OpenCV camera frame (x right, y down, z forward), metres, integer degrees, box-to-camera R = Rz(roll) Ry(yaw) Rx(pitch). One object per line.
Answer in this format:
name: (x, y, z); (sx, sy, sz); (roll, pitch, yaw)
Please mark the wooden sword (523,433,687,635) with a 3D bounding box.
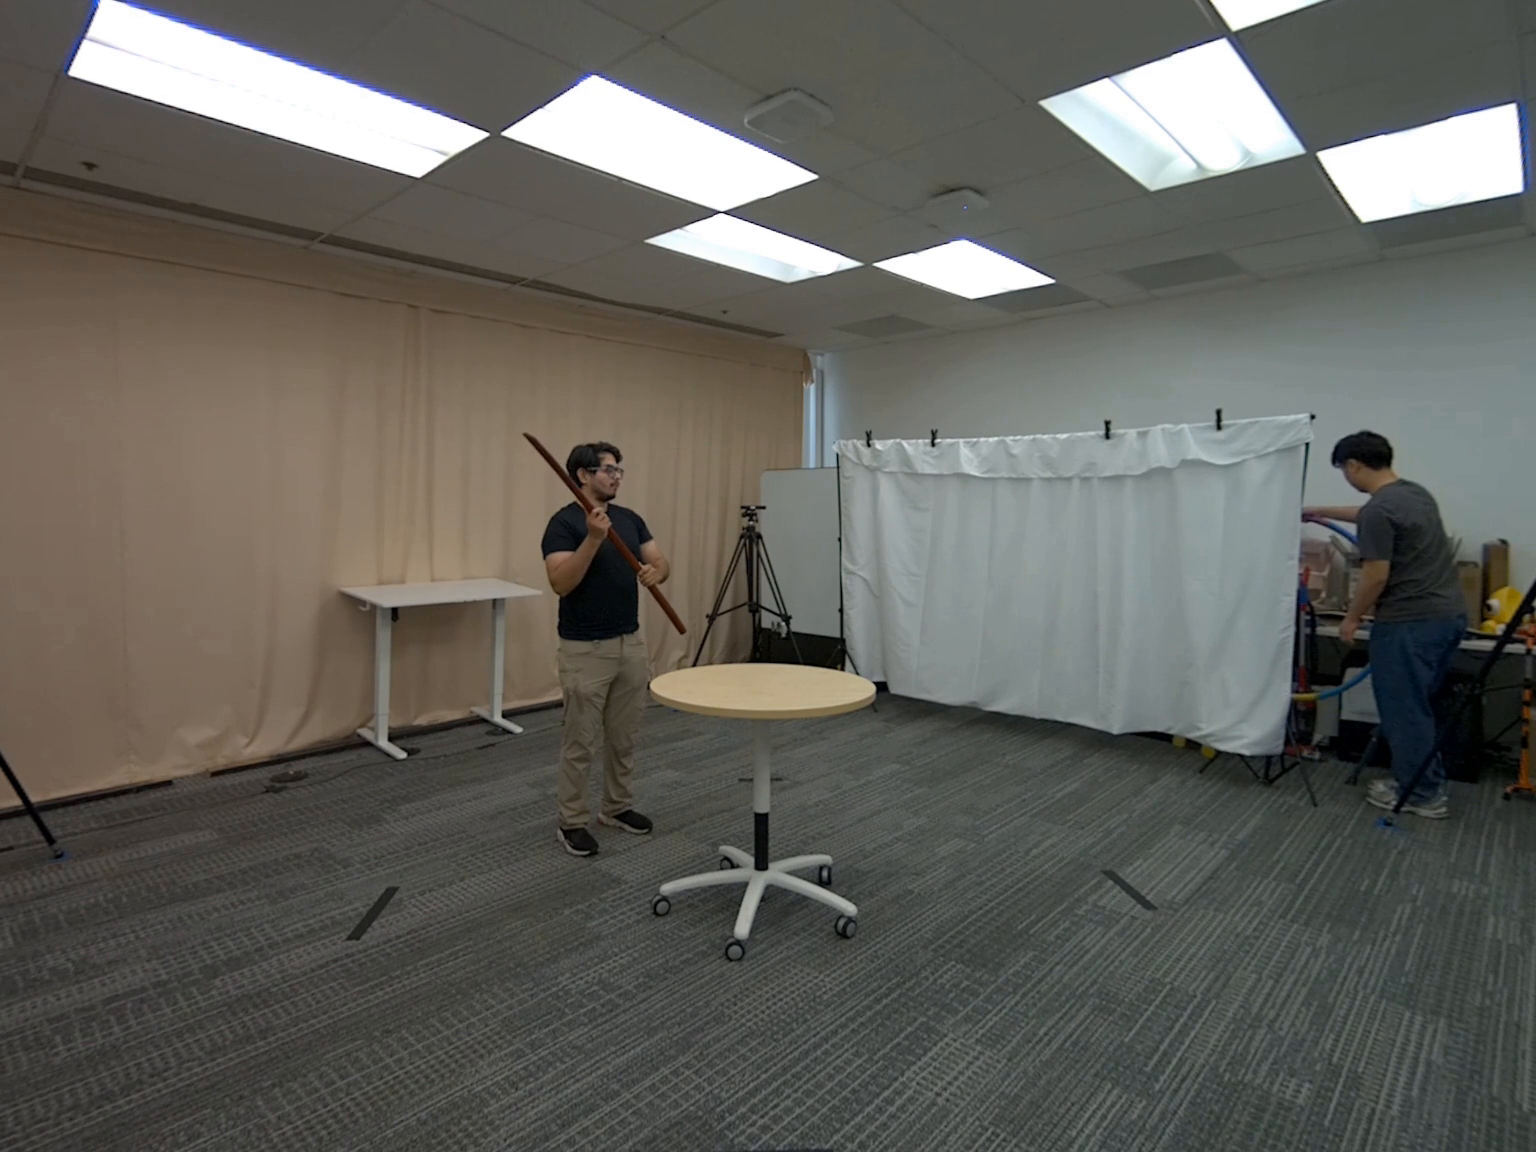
wooden sword: (-0.585, -0.127, 3.202); (0.024, 0.999, 0.052); (-23, 27, 26)
